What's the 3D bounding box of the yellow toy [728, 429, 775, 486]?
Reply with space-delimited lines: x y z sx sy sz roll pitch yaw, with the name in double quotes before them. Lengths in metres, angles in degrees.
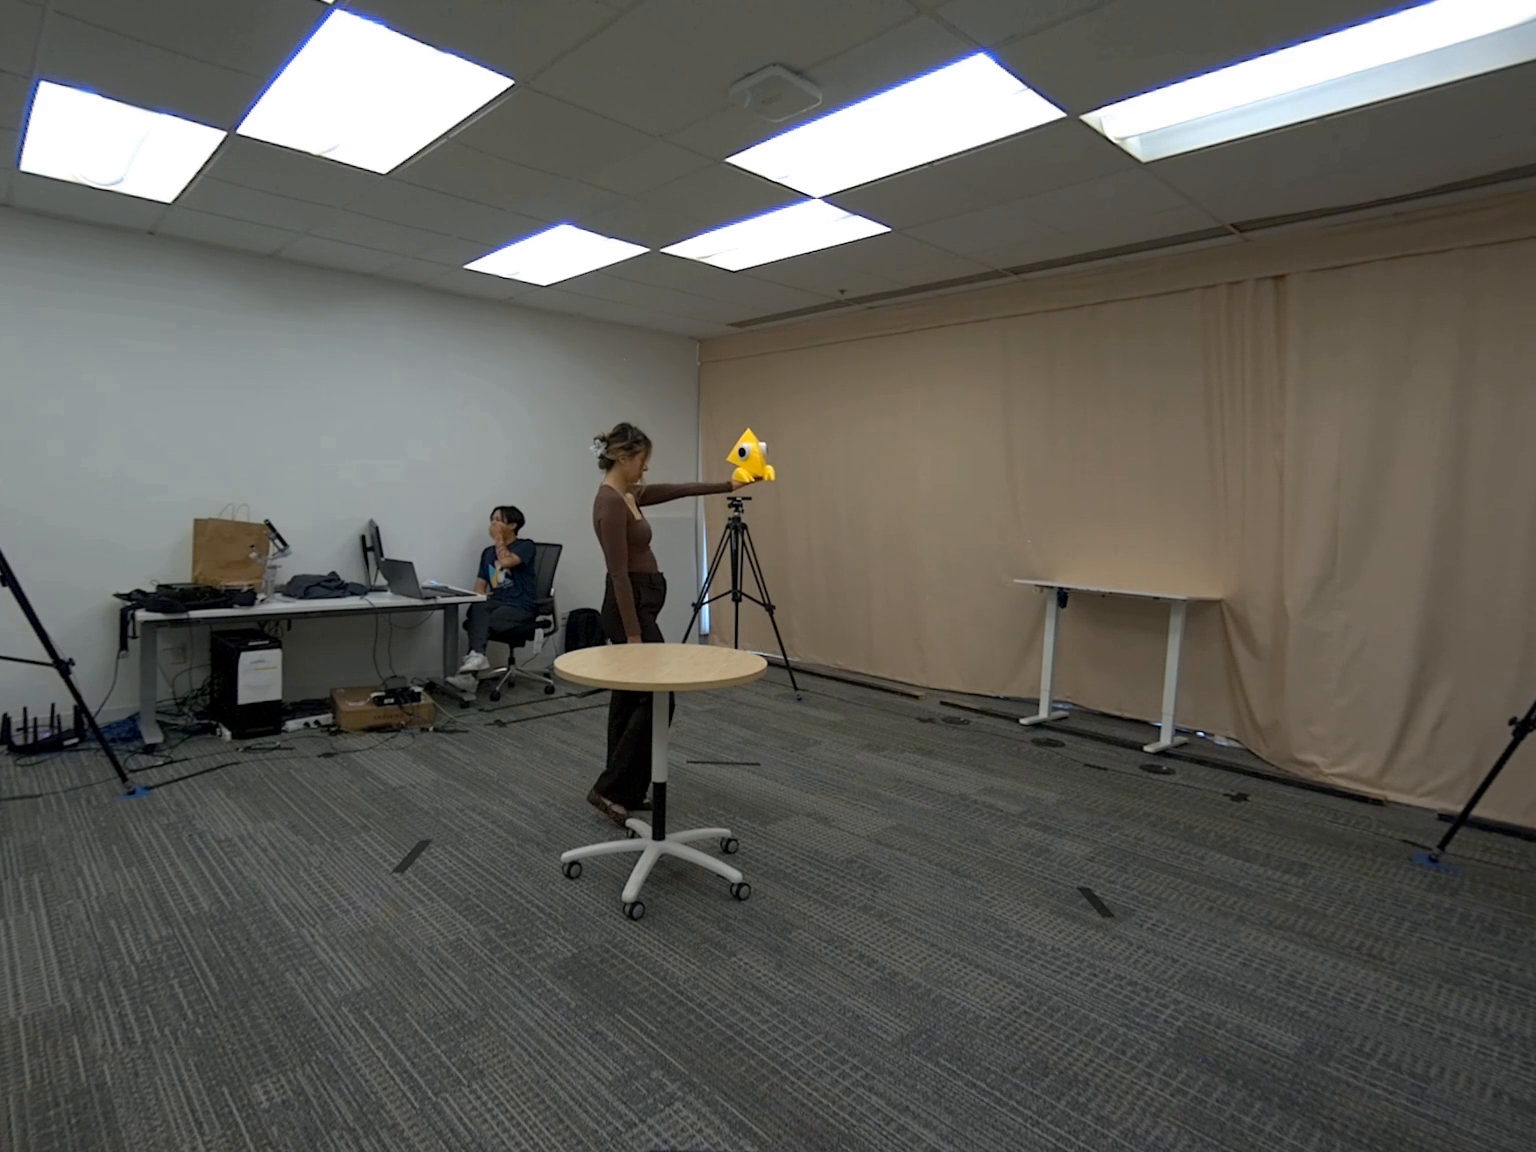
"yellow toy" -0.077 -0.583 4.015 0.202 0.228 0.198 -7 19 -23
